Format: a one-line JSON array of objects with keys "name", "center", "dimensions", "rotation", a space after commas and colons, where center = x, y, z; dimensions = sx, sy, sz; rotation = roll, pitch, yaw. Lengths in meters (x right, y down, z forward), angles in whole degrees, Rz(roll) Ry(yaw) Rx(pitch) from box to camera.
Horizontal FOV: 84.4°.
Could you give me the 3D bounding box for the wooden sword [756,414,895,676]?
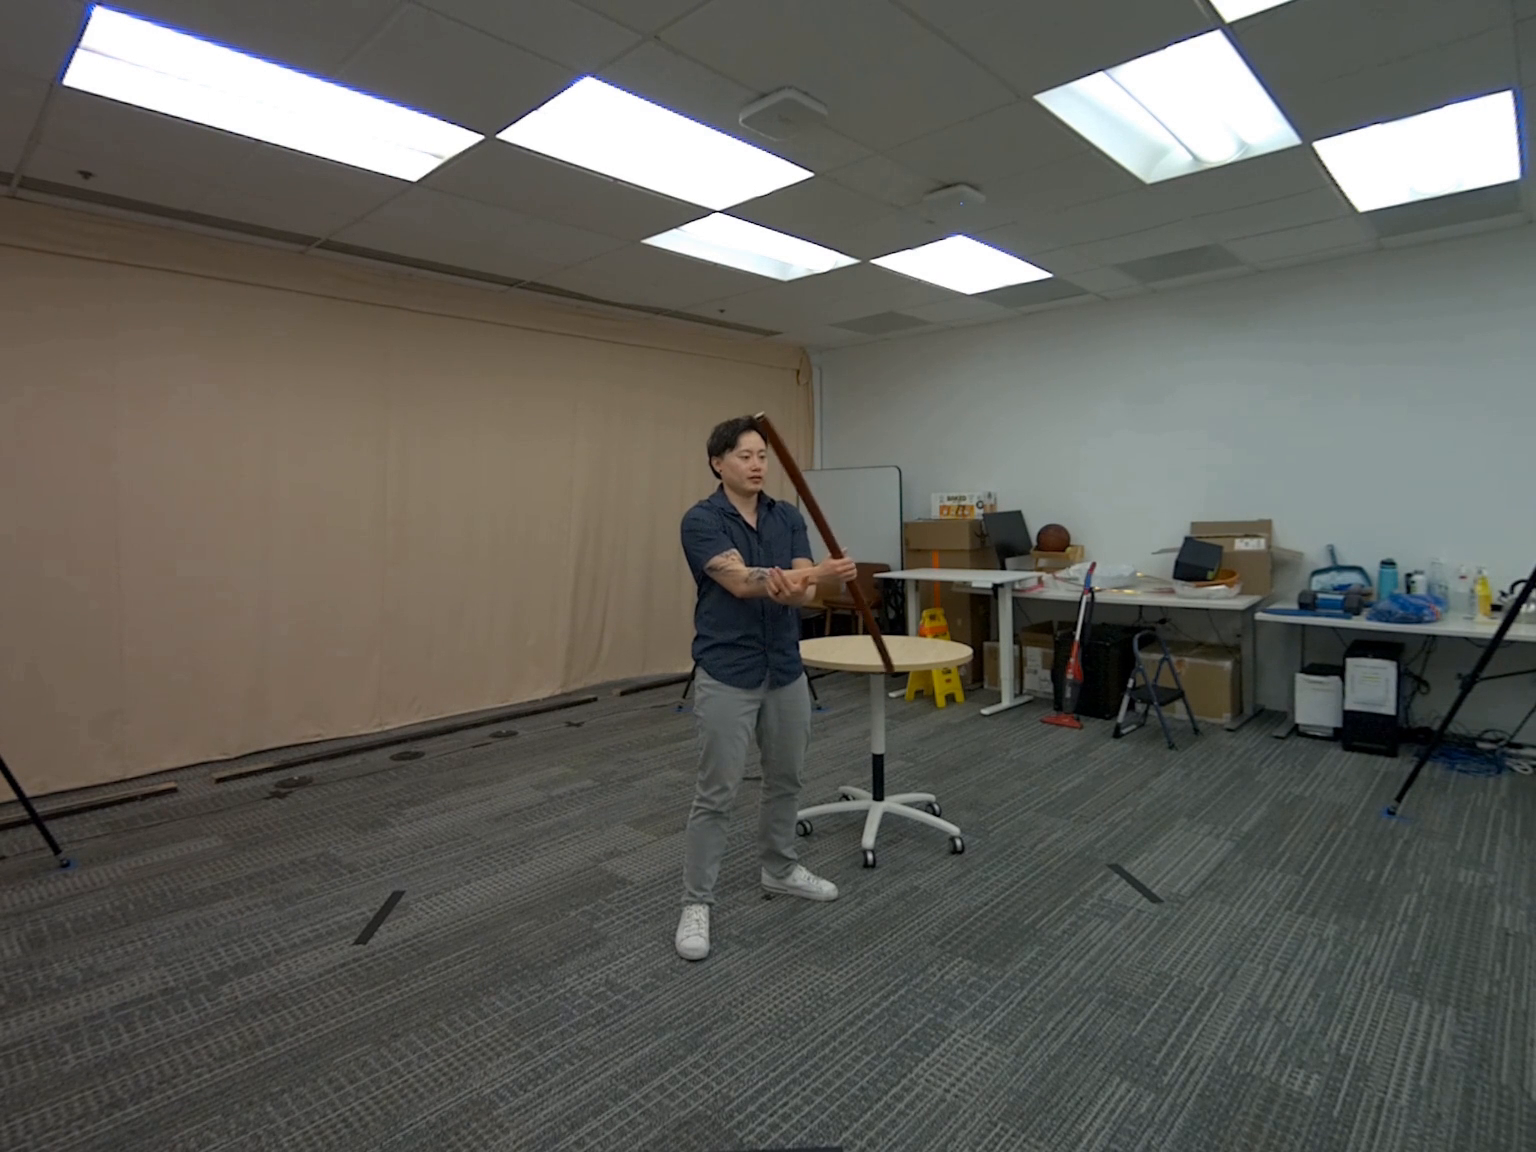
[{"name": "wooden sword", "center": [0.211, -0.064, 2.550], "dimensions": [0.053, 0.999, 0.024], "rotation": [1, 39, 44]}]
